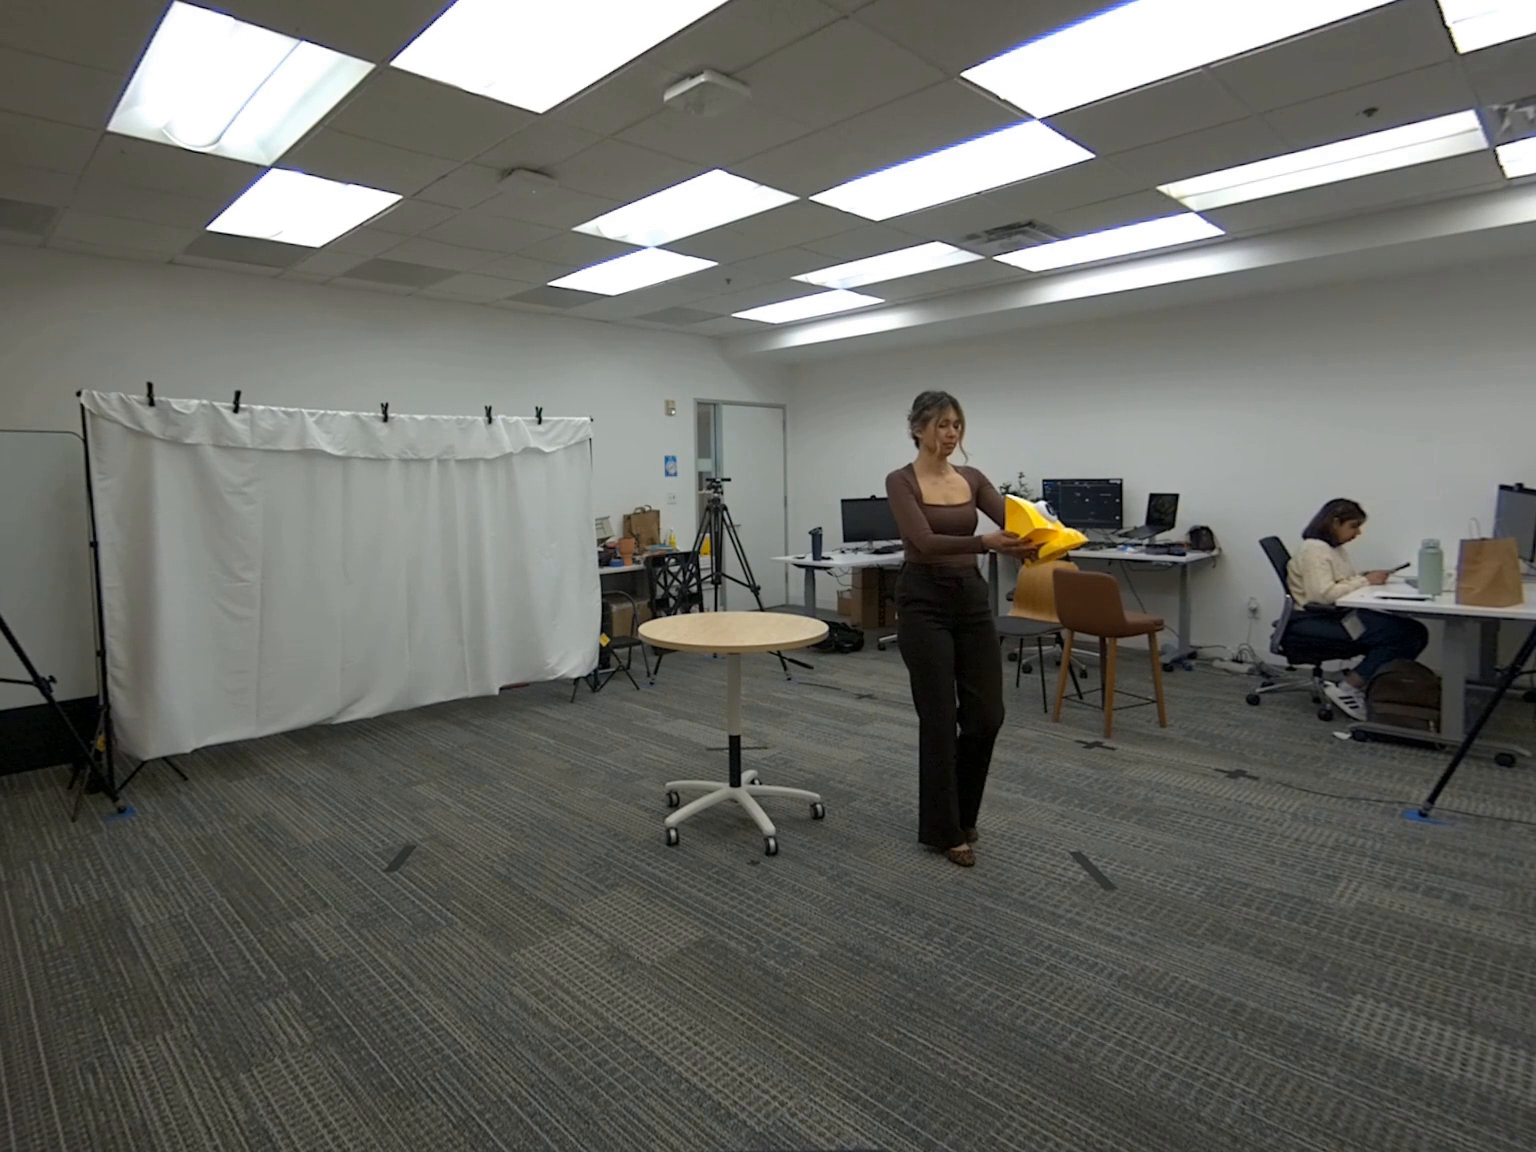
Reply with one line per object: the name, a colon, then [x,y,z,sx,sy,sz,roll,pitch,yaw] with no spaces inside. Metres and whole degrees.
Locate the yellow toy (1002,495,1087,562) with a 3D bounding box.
yellow toy: [0.855,-0.164,2.700,0.190,0.235,0.204,-14,-16,-19]
